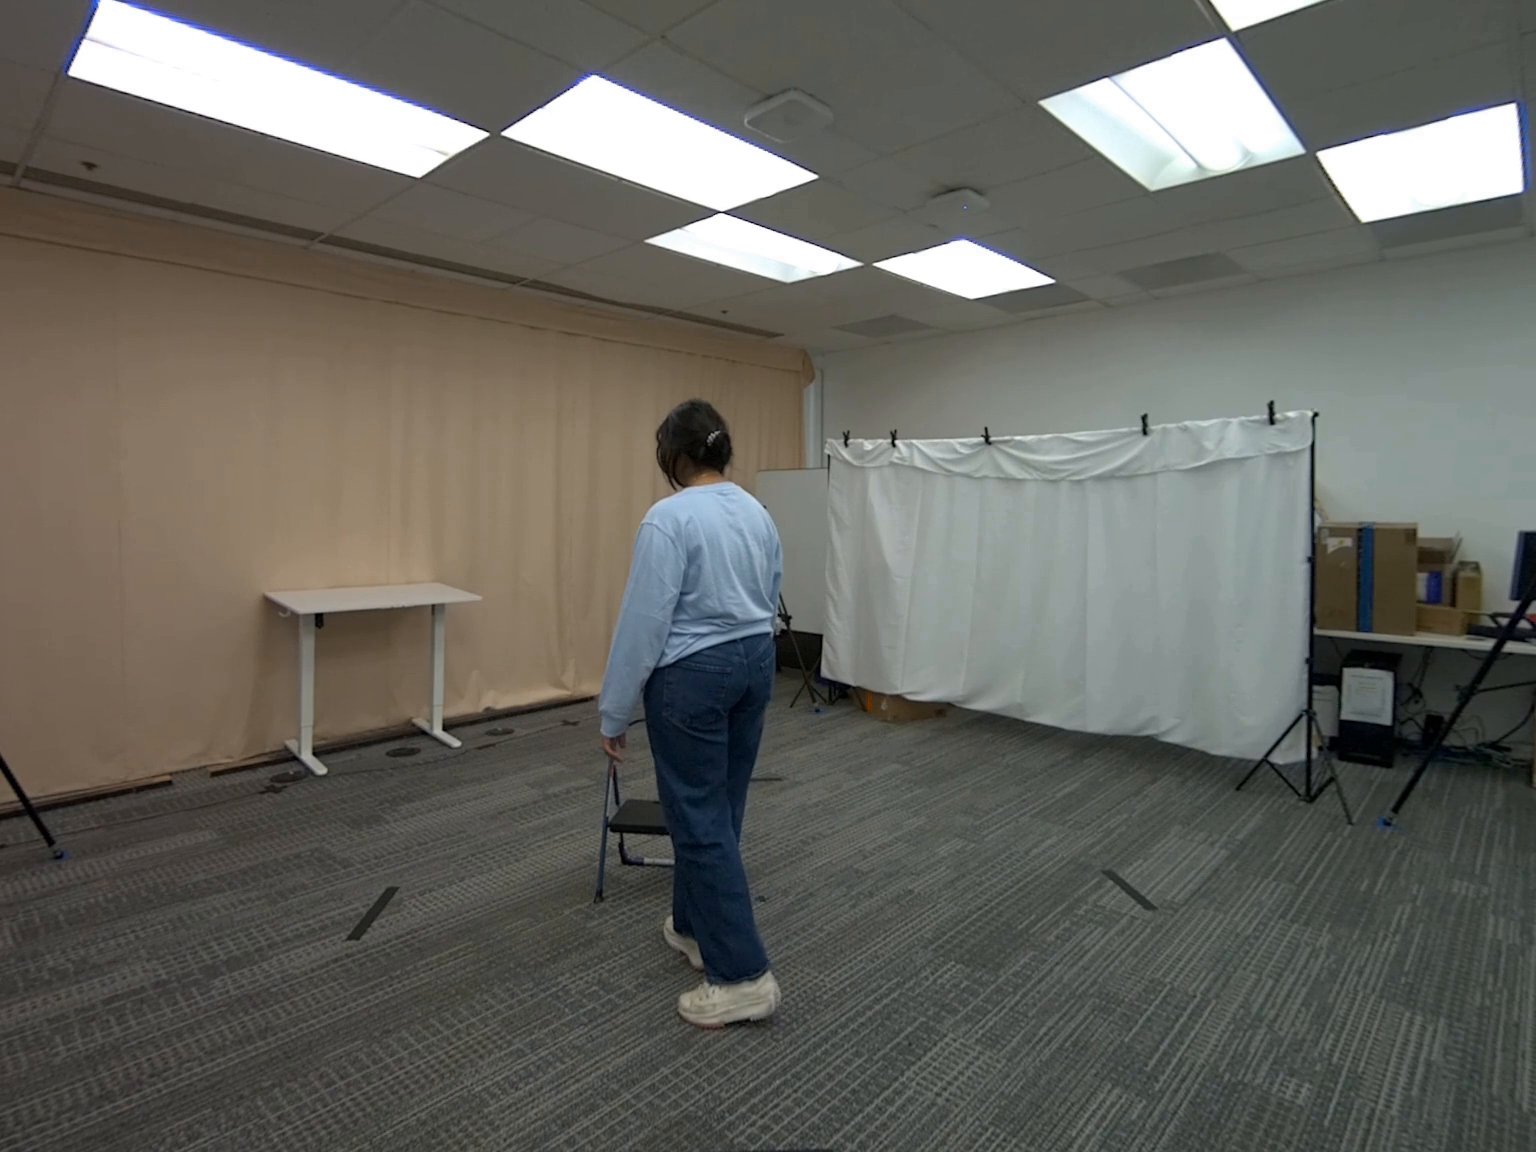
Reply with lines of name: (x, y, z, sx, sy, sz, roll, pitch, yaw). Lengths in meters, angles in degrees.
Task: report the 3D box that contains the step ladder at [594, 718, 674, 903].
step ladder: (-0.391, 0.835, 3.088, 0.435, 0.605, 0.346, 0, 3, 9)
